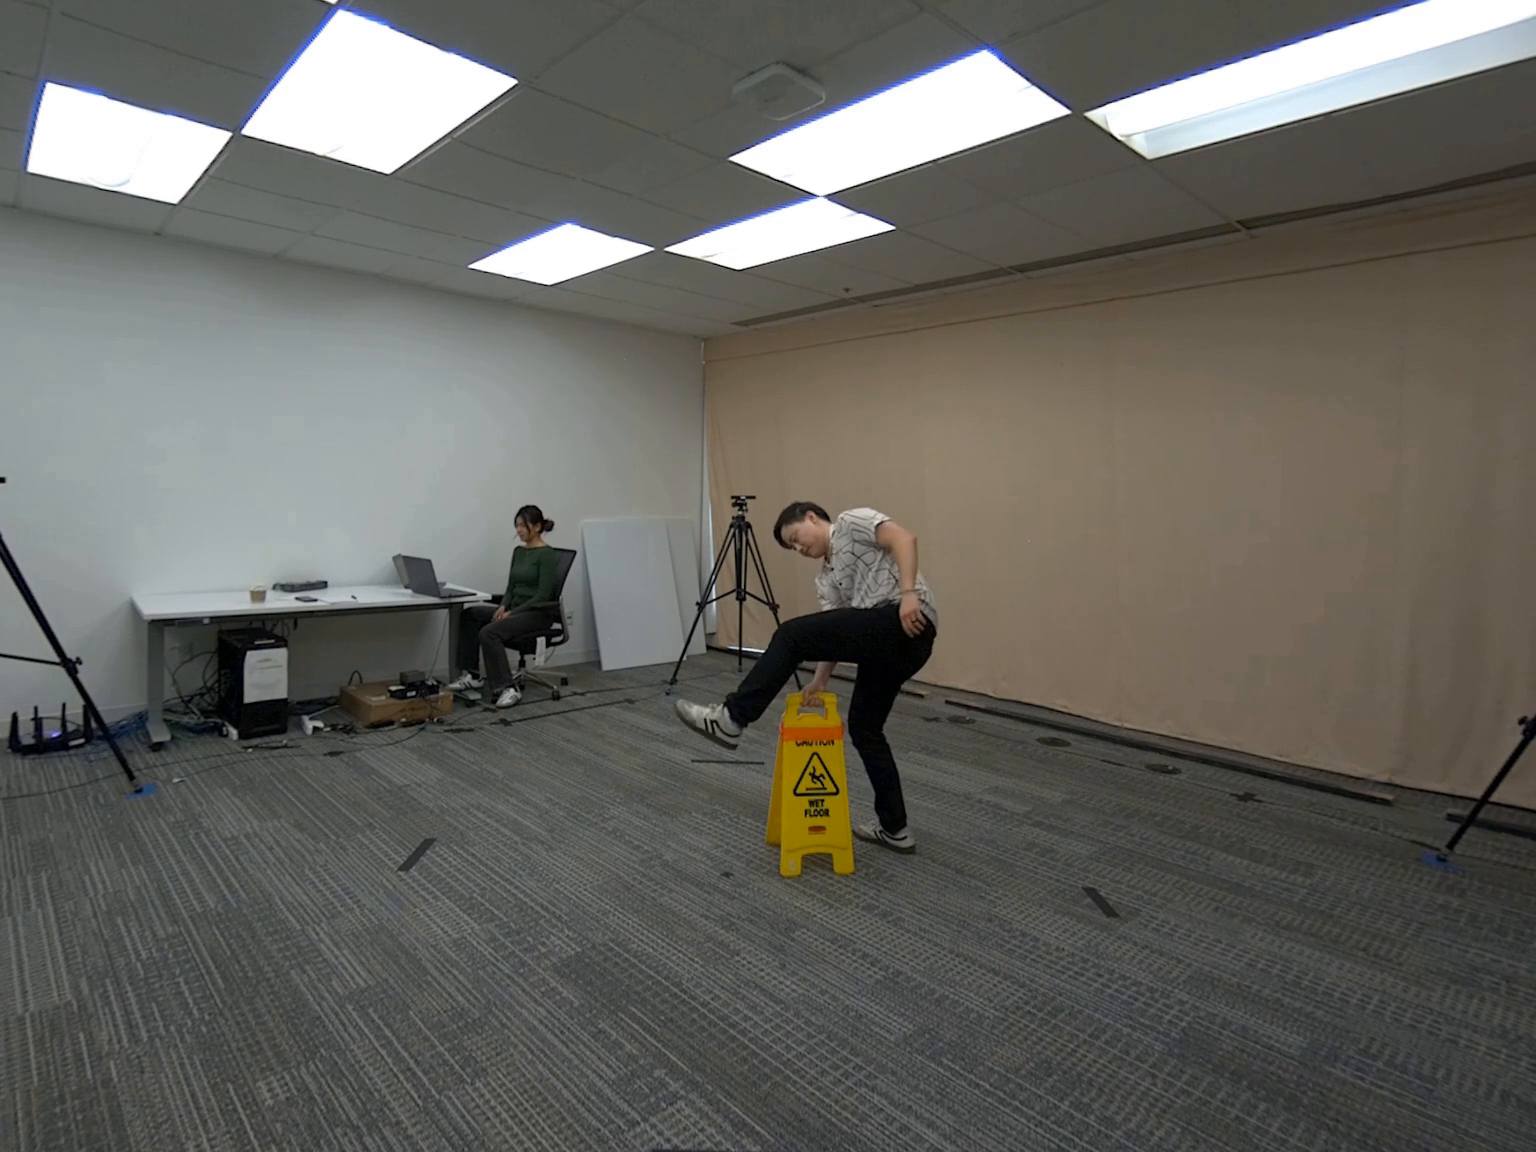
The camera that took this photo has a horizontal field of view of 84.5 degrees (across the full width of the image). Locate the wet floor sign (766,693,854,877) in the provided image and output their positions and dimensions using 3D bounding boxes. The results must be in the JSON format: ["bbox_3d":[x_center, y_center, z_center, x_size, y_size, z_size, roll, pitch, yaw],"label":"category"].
[{"bbox_3d":[0.153,0.767,3.250,0.280,0.645,0.292,1,2,-10],"label":"wet floor sign"}]
